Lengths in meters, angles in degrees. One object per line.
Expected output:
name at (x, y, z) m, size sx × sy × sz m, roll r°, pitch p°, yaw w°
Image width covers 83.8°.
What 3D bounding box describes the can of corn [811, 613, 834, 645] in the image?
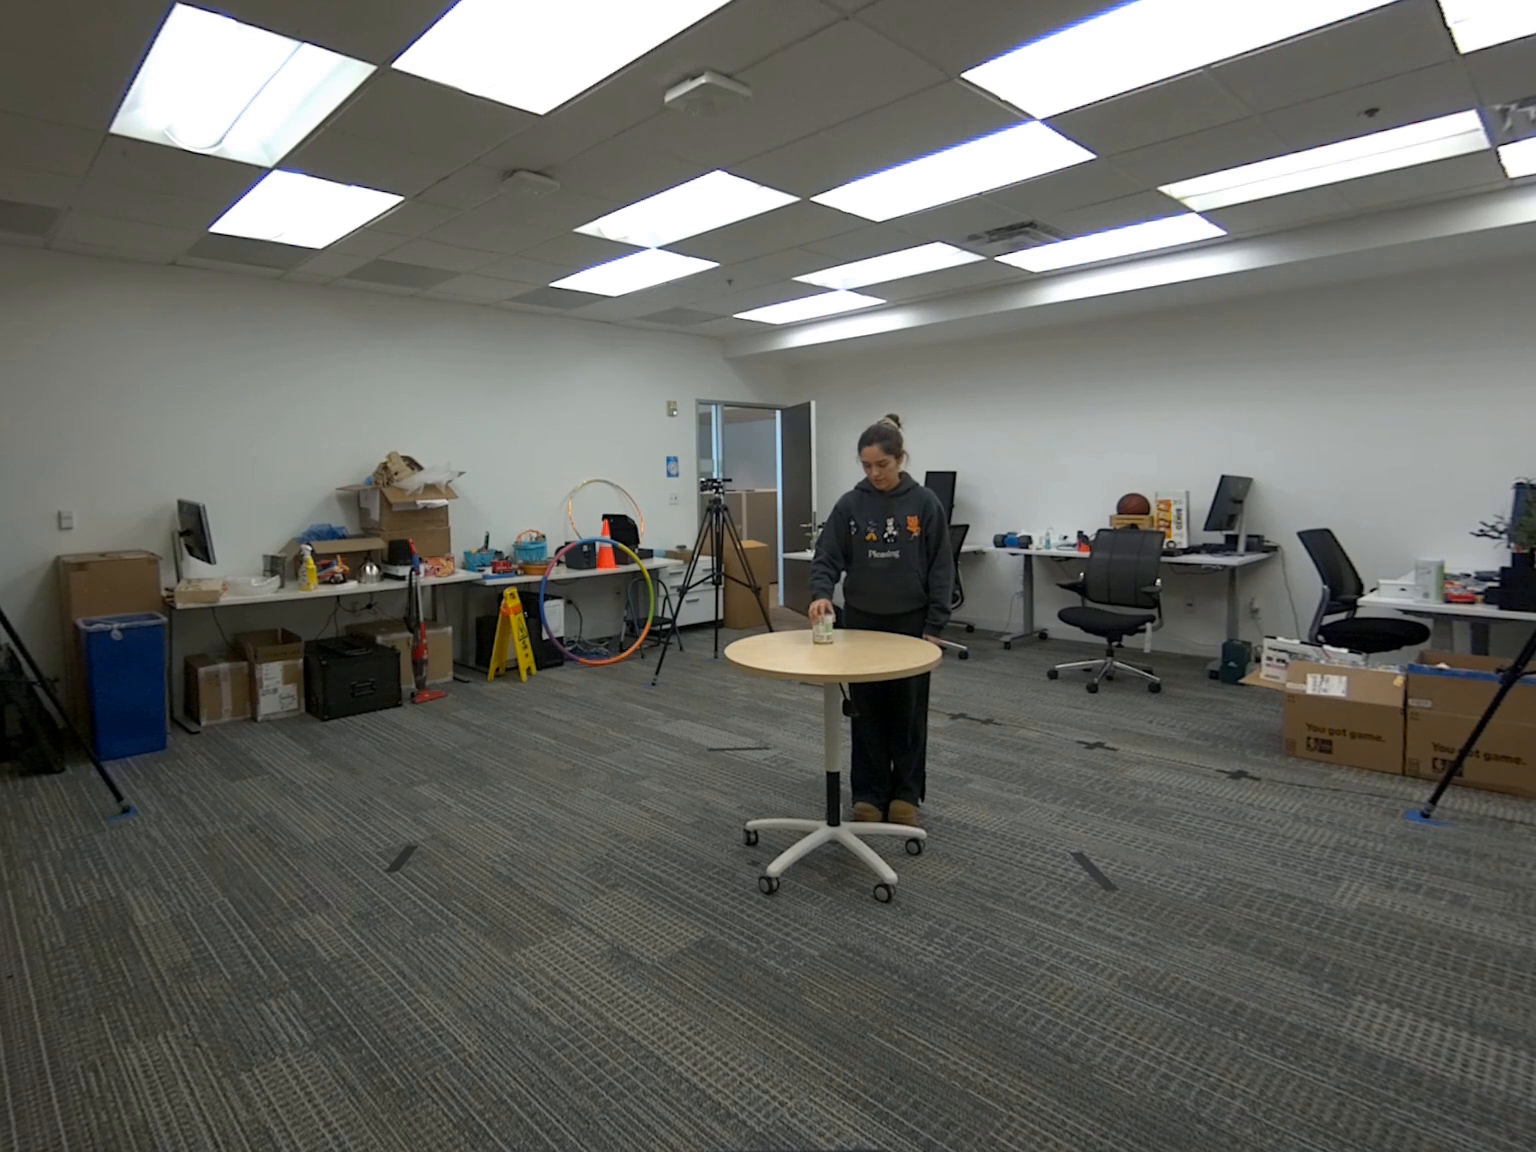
can of corn at (0.207, 0.194, 3.163) m, size 0.074 × 0.111 × 0.074 m, roll -1°, pitch 2°, yaw -2°
